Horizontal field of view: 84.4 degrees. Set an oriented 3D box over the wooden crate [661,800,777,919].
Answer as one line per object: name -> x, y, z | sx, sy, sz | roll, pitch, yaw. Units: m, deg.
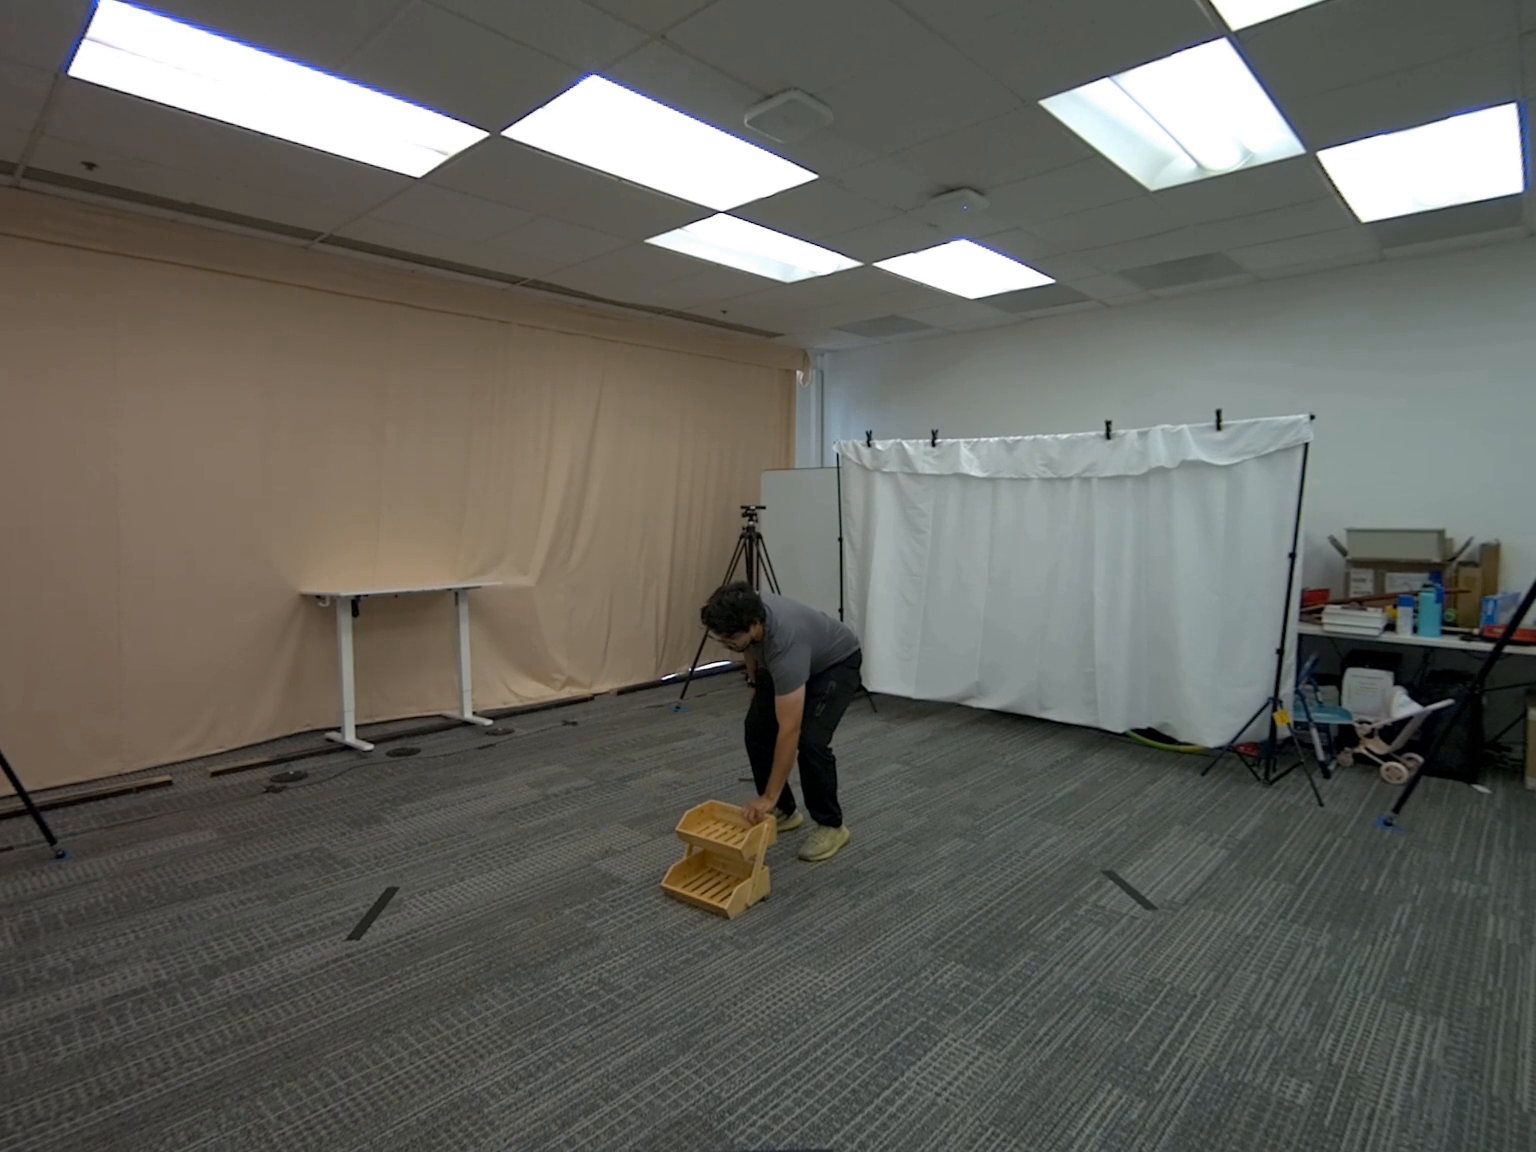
wooden crate -> -0.176, 1.002, 3.014 | 0.335, 0.272, 0.293 | 2, 7, 37
